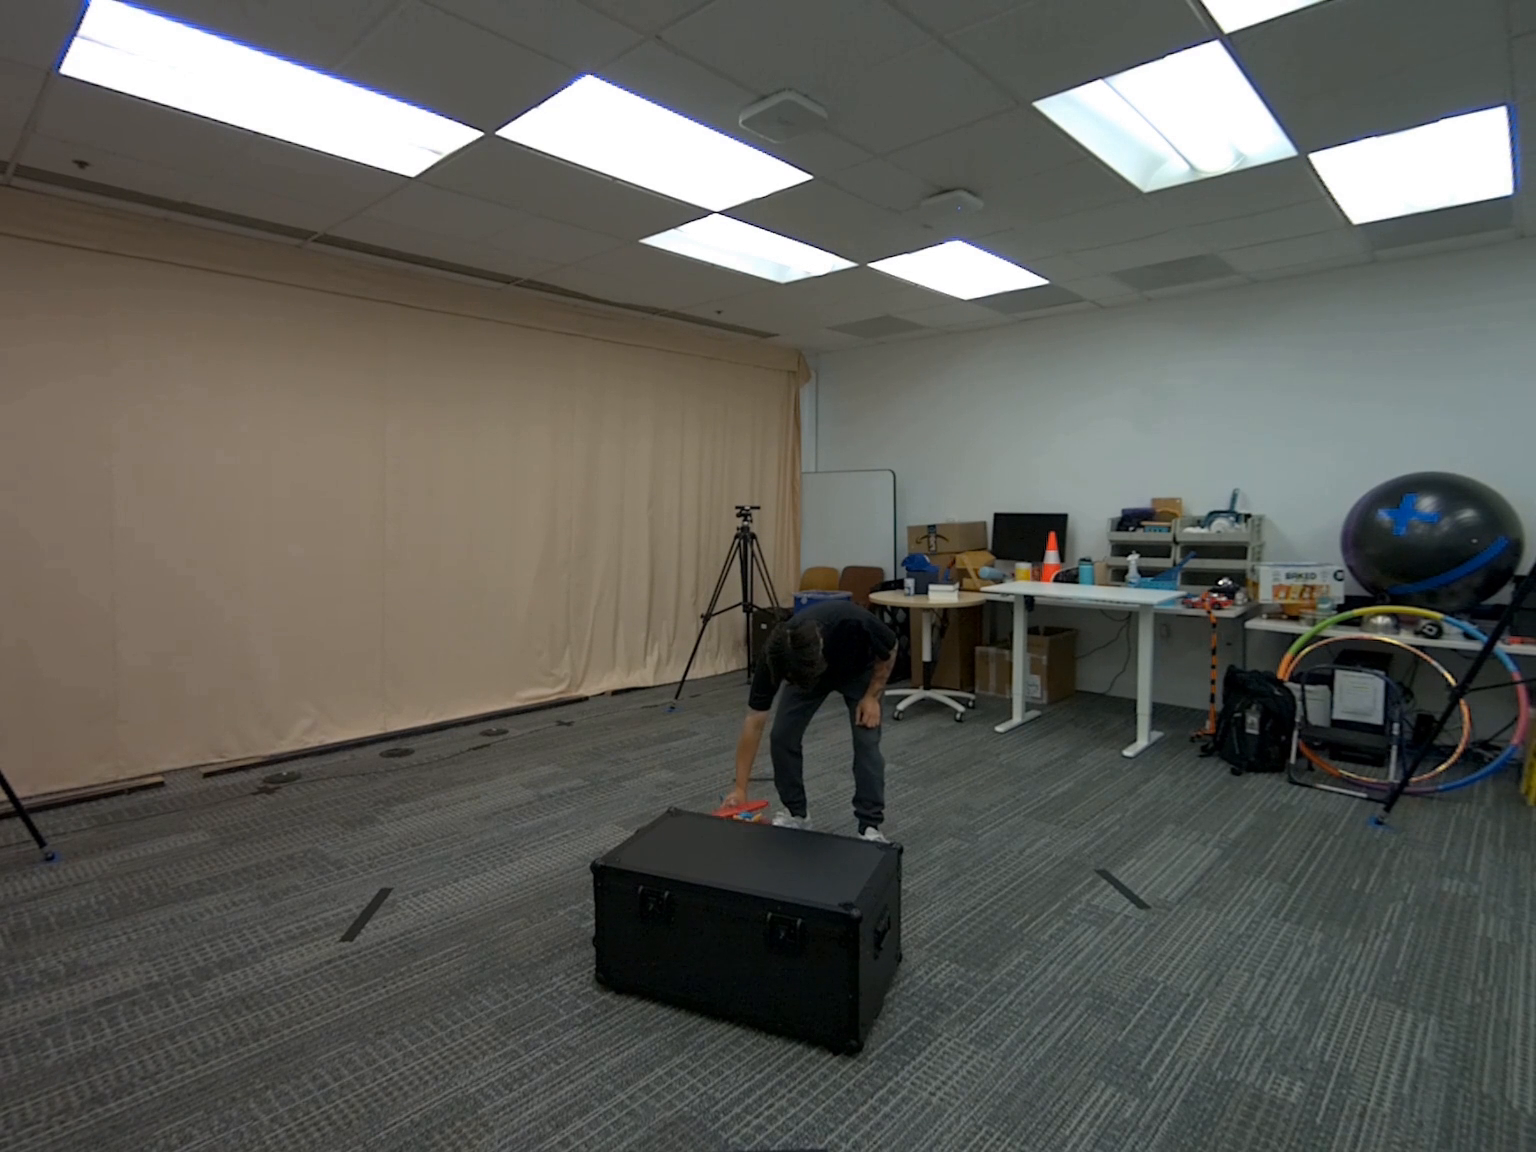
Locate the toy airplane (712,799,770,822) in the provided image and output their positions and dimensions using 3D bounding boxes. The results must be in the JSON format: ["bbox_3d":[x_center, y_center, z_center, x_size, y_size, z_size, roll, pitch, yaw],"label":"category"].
[{"bbox_3d":[-0.138,0.938,3.205,0.268,0.155,0.245,7,15,37],"label":"toy airplane"}]
